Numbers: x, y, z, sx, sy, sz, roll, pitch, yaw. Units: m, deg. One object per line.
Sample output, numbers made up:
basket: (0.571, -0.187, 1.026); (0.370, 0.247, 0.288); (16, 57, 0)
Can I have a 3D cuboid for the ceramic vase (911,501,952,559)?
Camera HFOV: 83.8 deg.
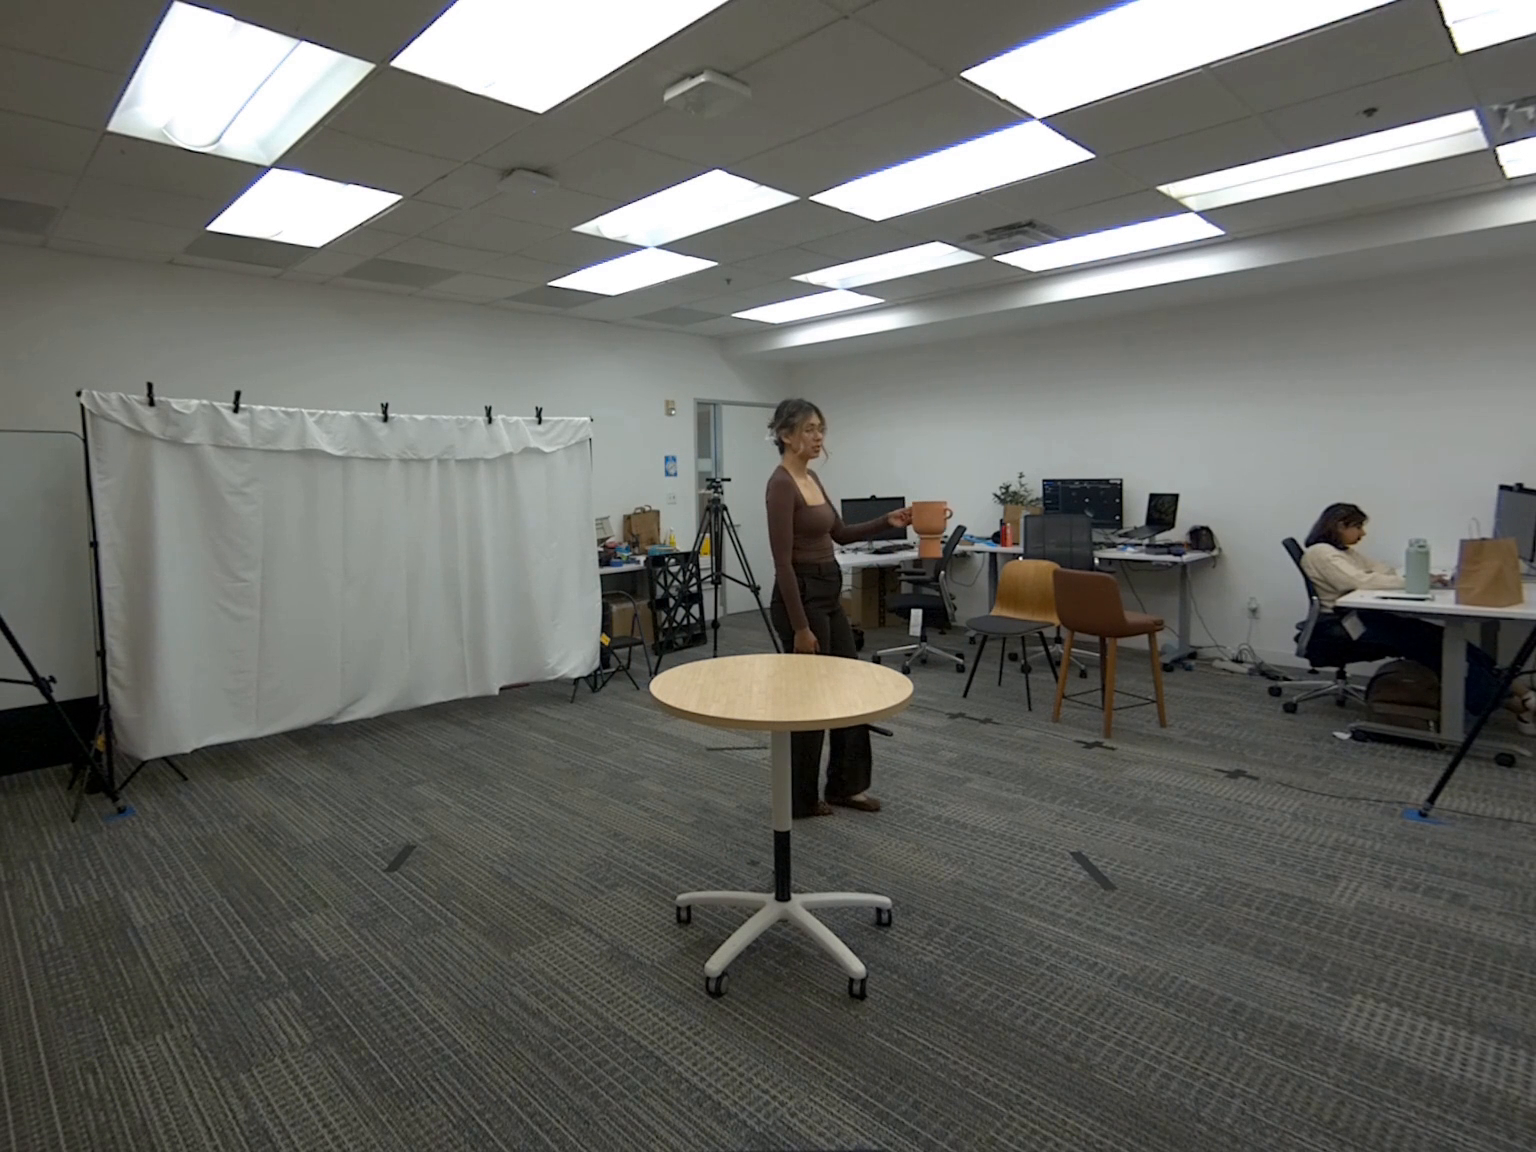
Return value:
ceramic vase: (0.638, -0.185, 3.367); (0.133, 0.220, 0.160); (-2, 1, -12)
